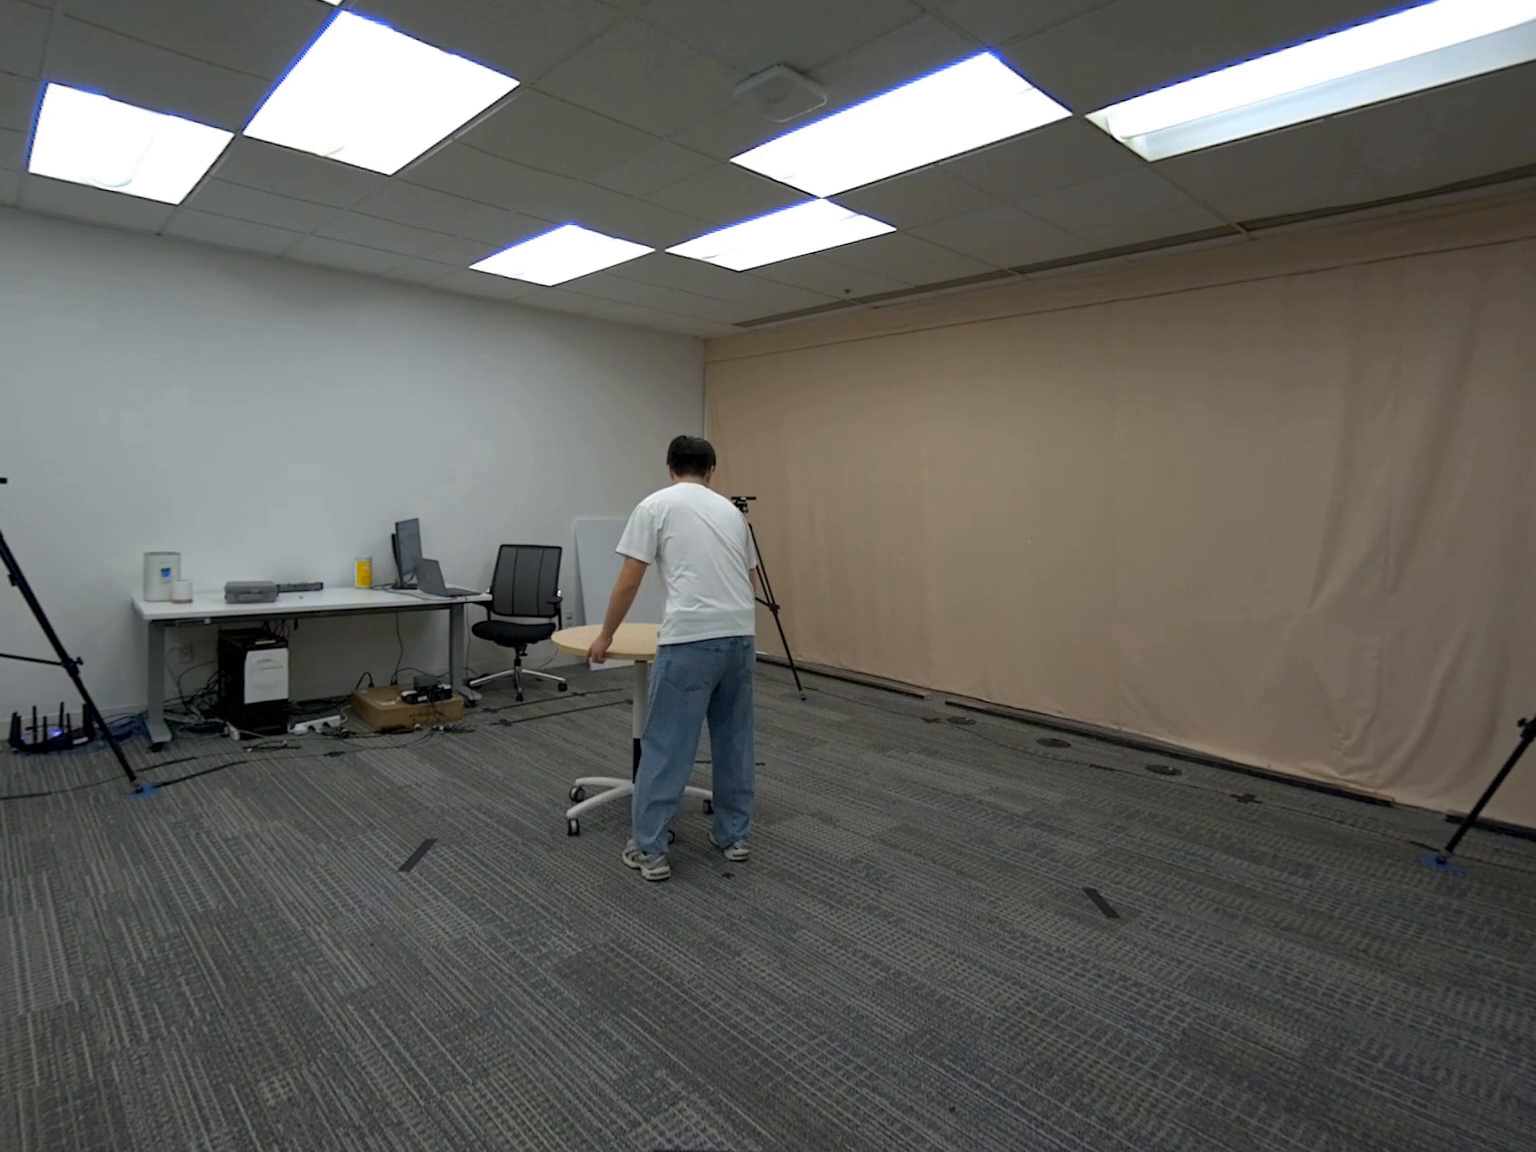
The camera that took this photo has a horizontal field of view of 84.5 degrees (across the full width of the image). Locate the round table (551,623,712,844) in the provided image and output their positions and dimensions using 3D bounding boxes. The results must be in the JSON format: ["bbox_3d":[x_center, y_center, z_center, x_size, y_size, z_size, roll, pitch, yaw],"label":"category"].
[{"bbox_3d":[-0.561,0.651,3.650,0.784,0.785,0.787,2,4,-1],"label":"round table"}]
